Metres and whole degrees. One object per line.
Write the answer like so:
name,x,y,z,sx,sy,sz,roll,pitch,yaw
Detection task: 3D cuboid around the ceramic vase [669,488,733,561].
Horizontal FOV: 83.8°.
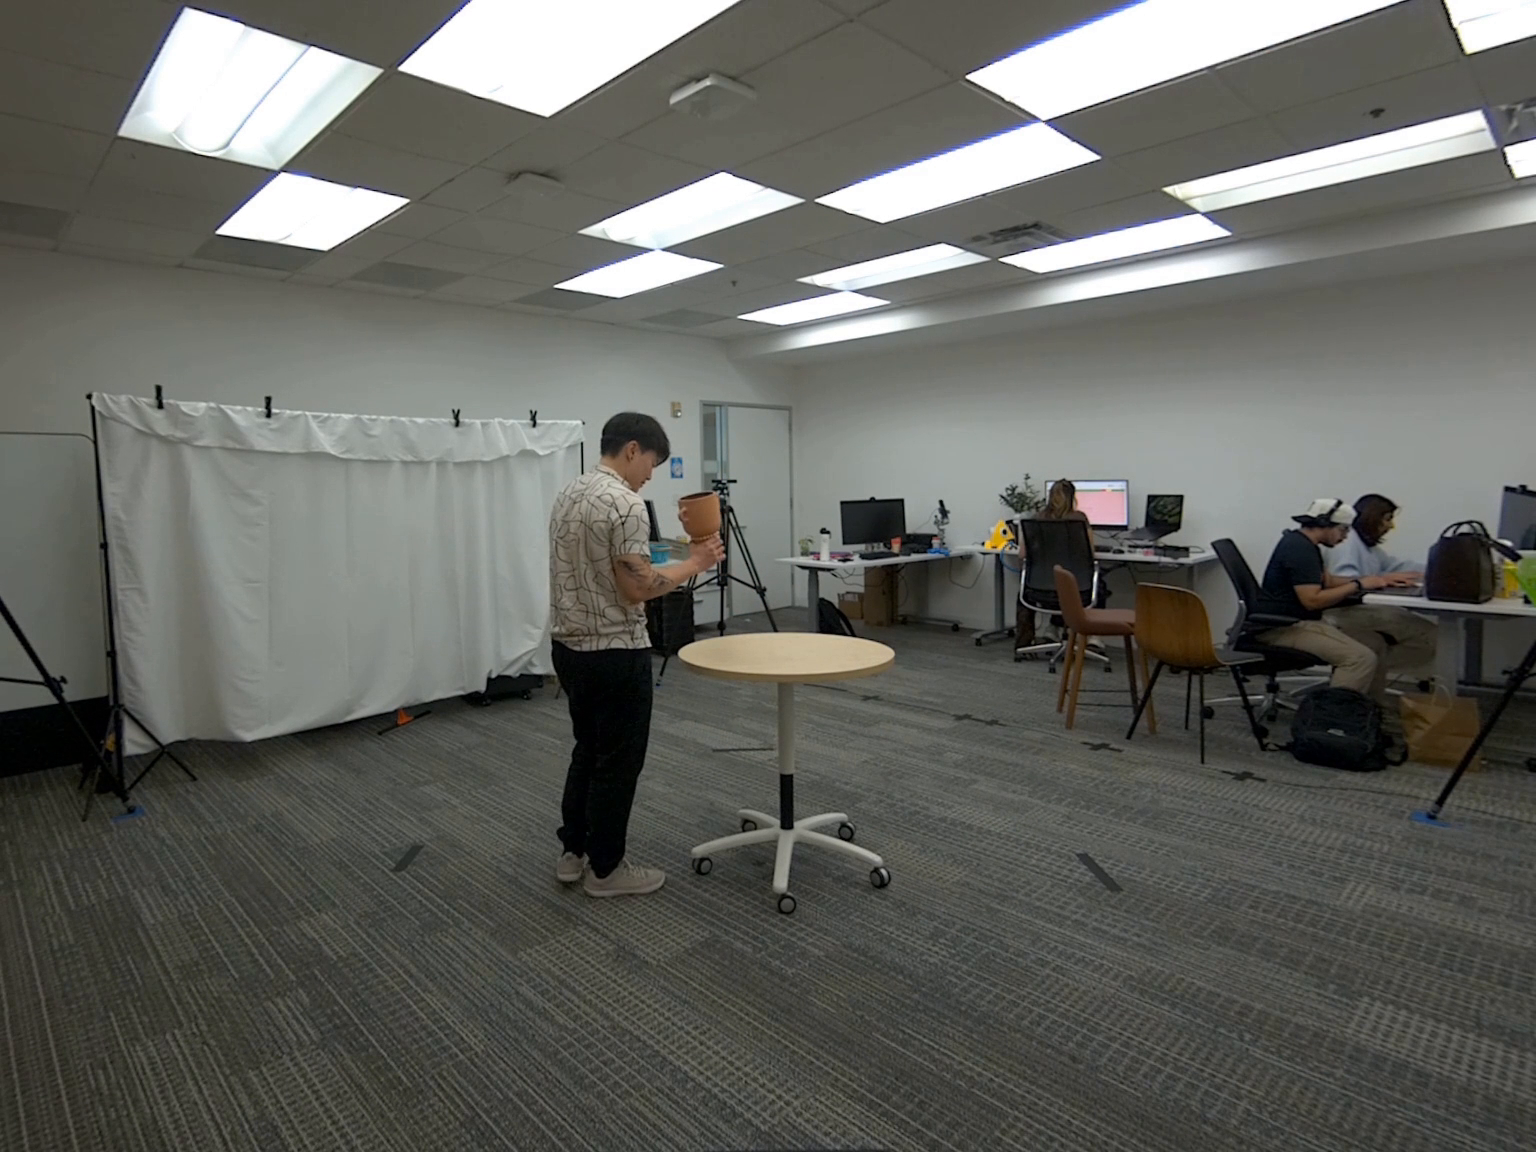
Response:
ceramic vase,-0.228,-0.165,2.880,0.158,0.217,0.137,-12,12,-9
